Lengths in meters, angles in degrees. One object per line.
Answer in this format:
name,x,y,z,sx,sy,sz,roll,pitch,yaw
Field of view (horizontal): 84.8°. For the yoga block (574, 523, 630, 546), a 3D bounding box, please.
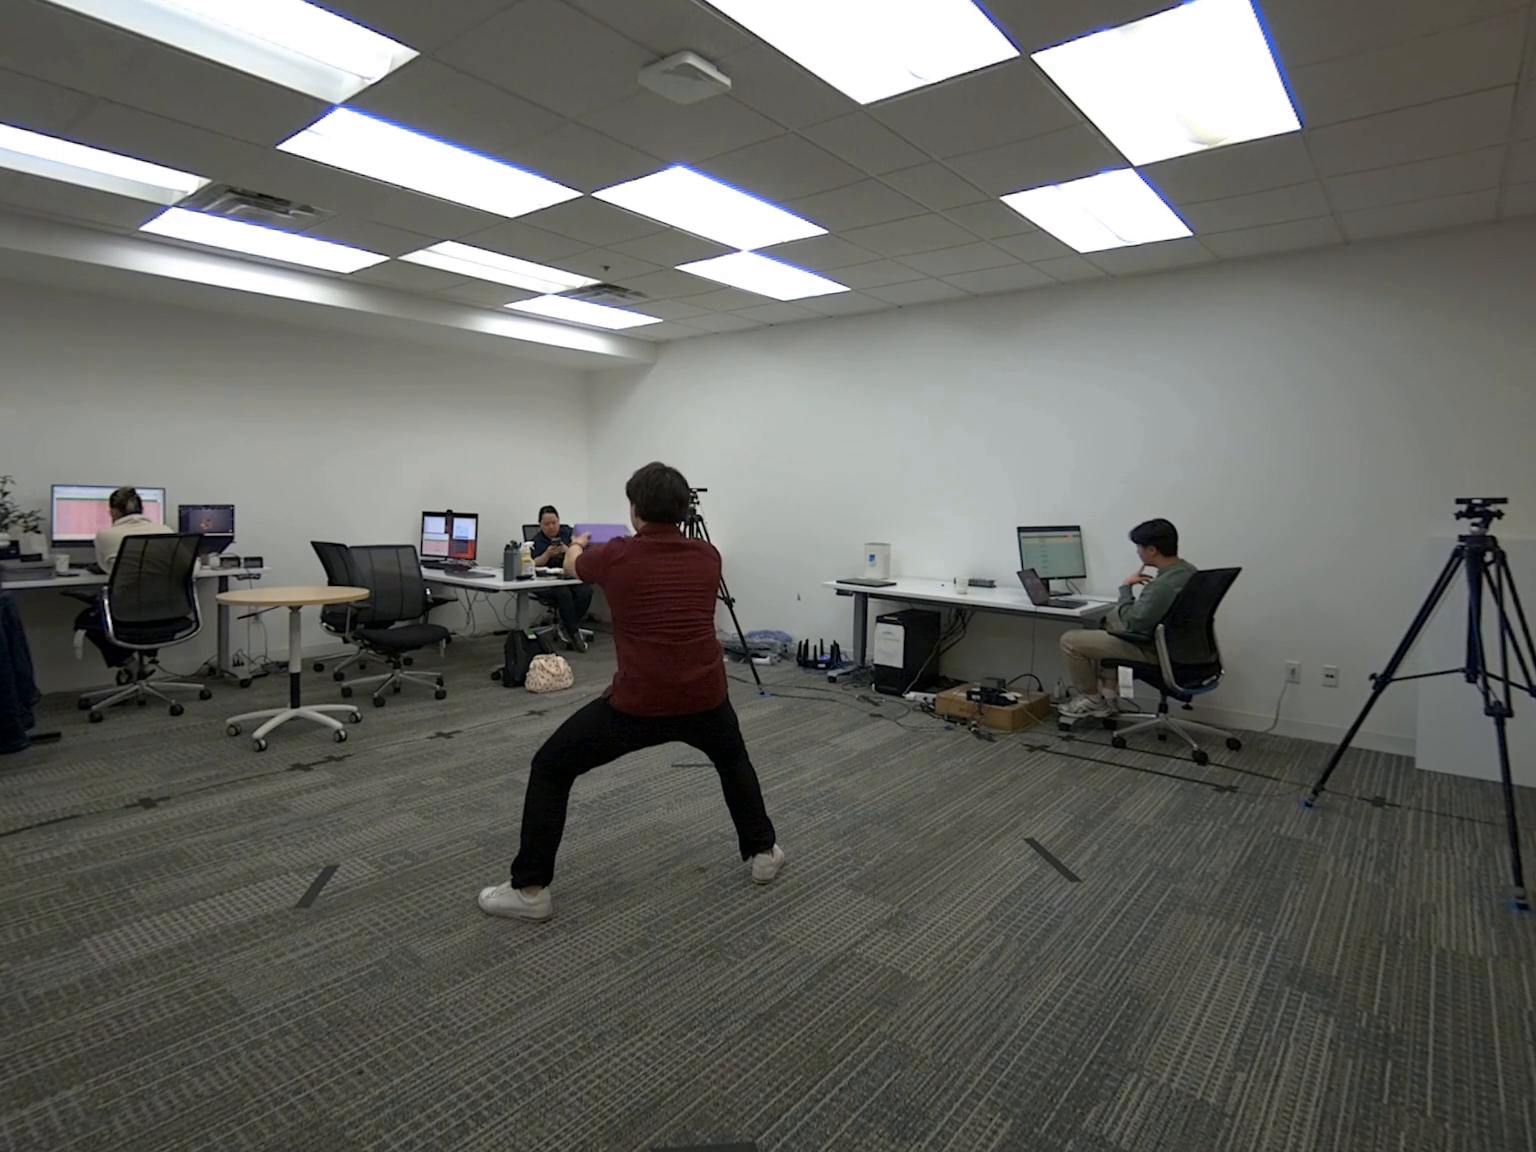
yoga block,-0.663,-0.162,3.423,0.224,0.075,0.155,-2,30,-27
